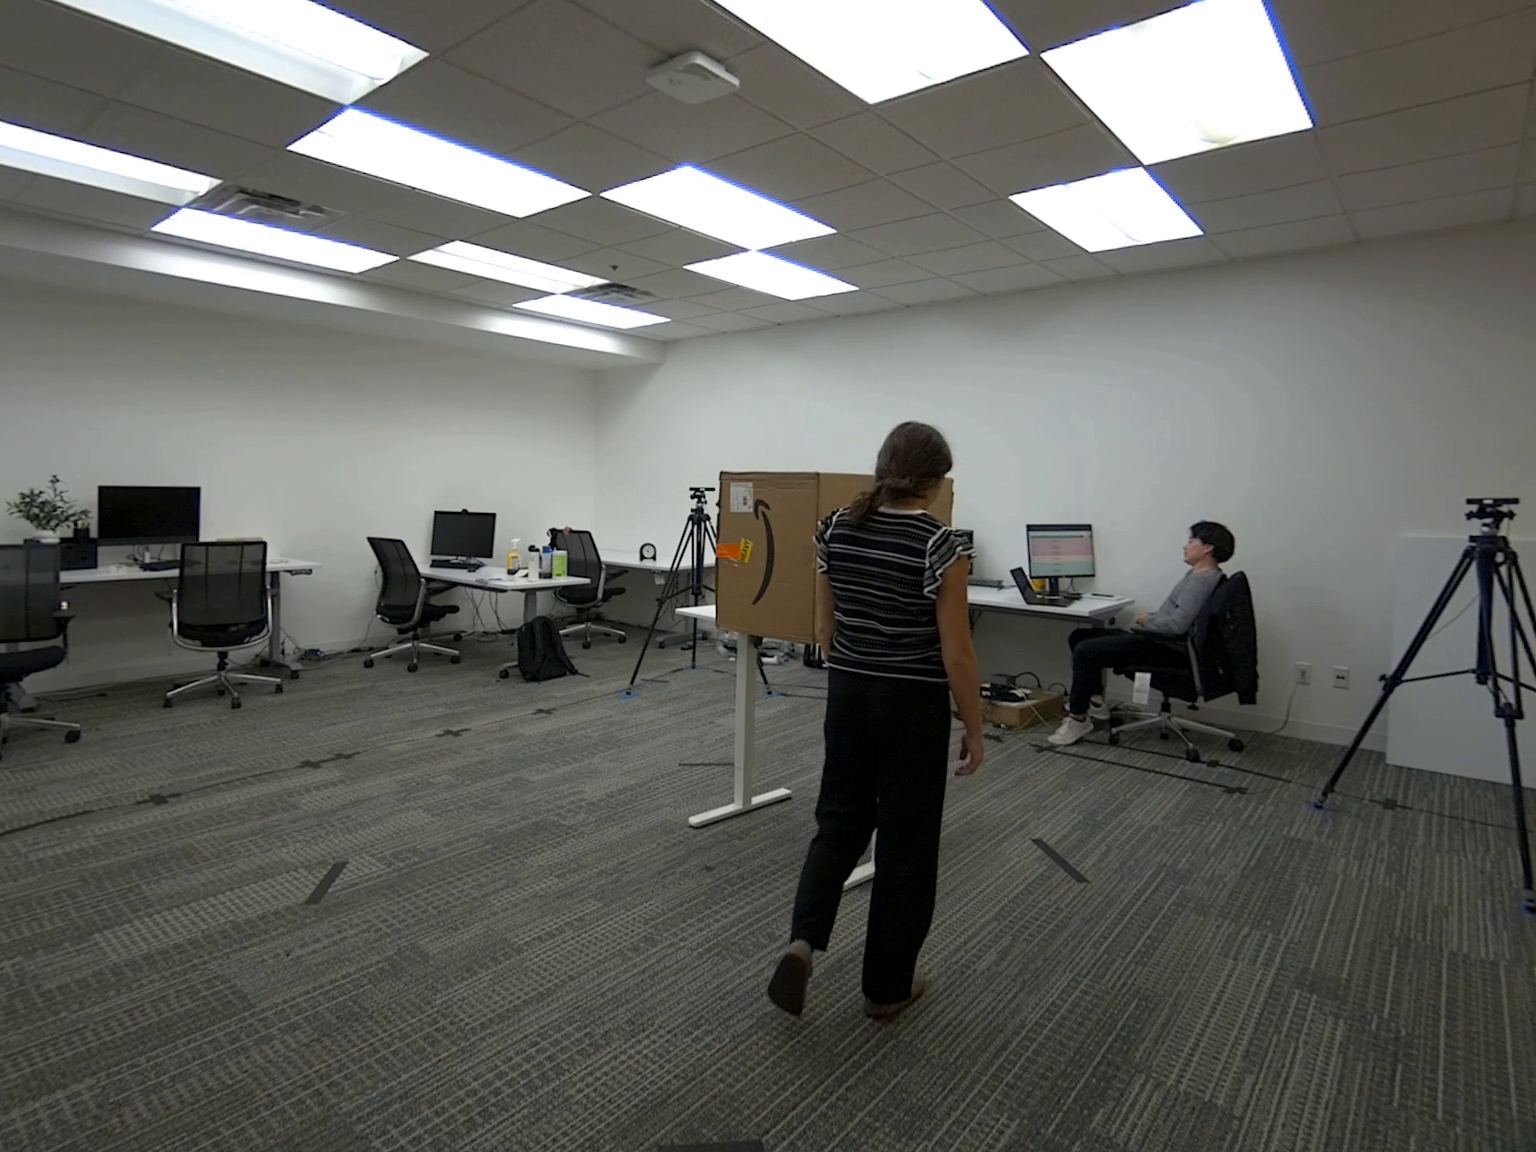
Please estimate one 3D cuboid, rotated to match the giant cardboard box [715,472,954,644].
[{"bbox_3d":[0.275,-0.114,3.311,0.440,0.575,0.996,4,6,38],"label":"giant cardboard box"}]
